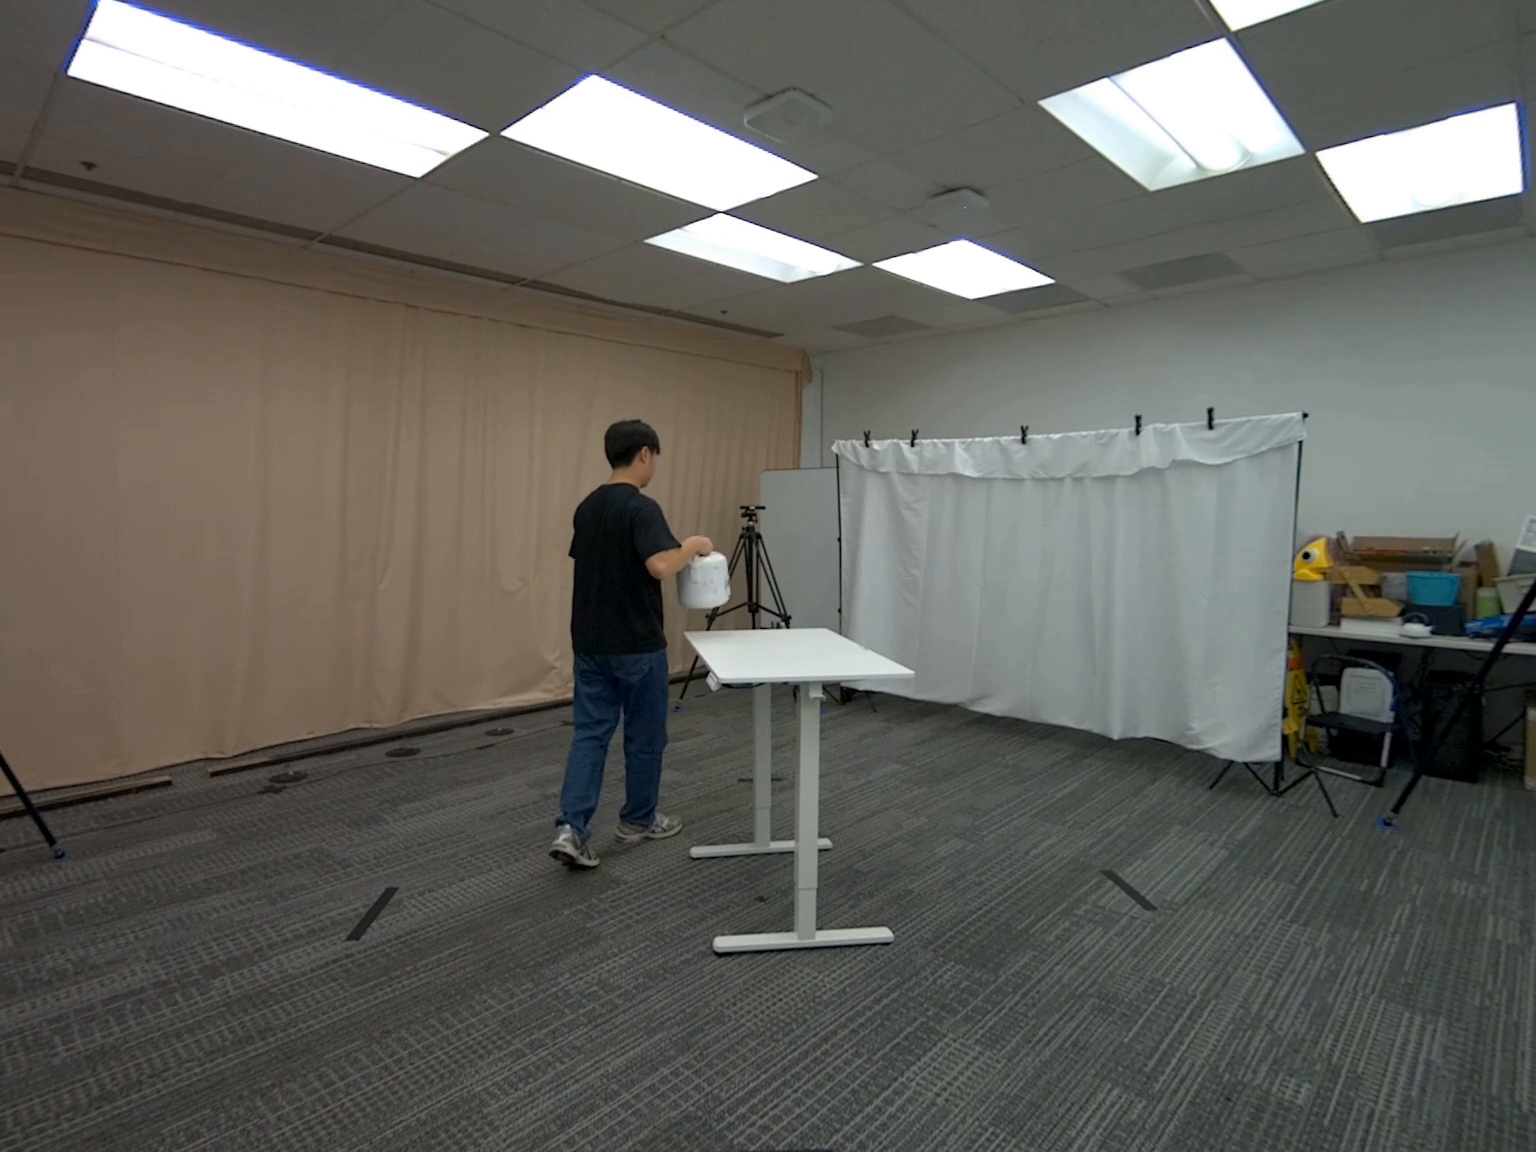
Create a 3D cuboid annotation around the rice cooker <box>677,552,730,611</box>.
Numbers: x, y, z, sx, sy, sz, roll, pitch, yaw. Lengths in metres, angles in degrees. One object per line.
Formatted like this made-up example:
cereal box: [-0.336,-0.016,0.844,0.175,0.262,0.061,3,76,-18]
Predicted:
rice cooker: [-0.262,0.004,3.385,0.221,0.231,0.218,-3,8,14]
